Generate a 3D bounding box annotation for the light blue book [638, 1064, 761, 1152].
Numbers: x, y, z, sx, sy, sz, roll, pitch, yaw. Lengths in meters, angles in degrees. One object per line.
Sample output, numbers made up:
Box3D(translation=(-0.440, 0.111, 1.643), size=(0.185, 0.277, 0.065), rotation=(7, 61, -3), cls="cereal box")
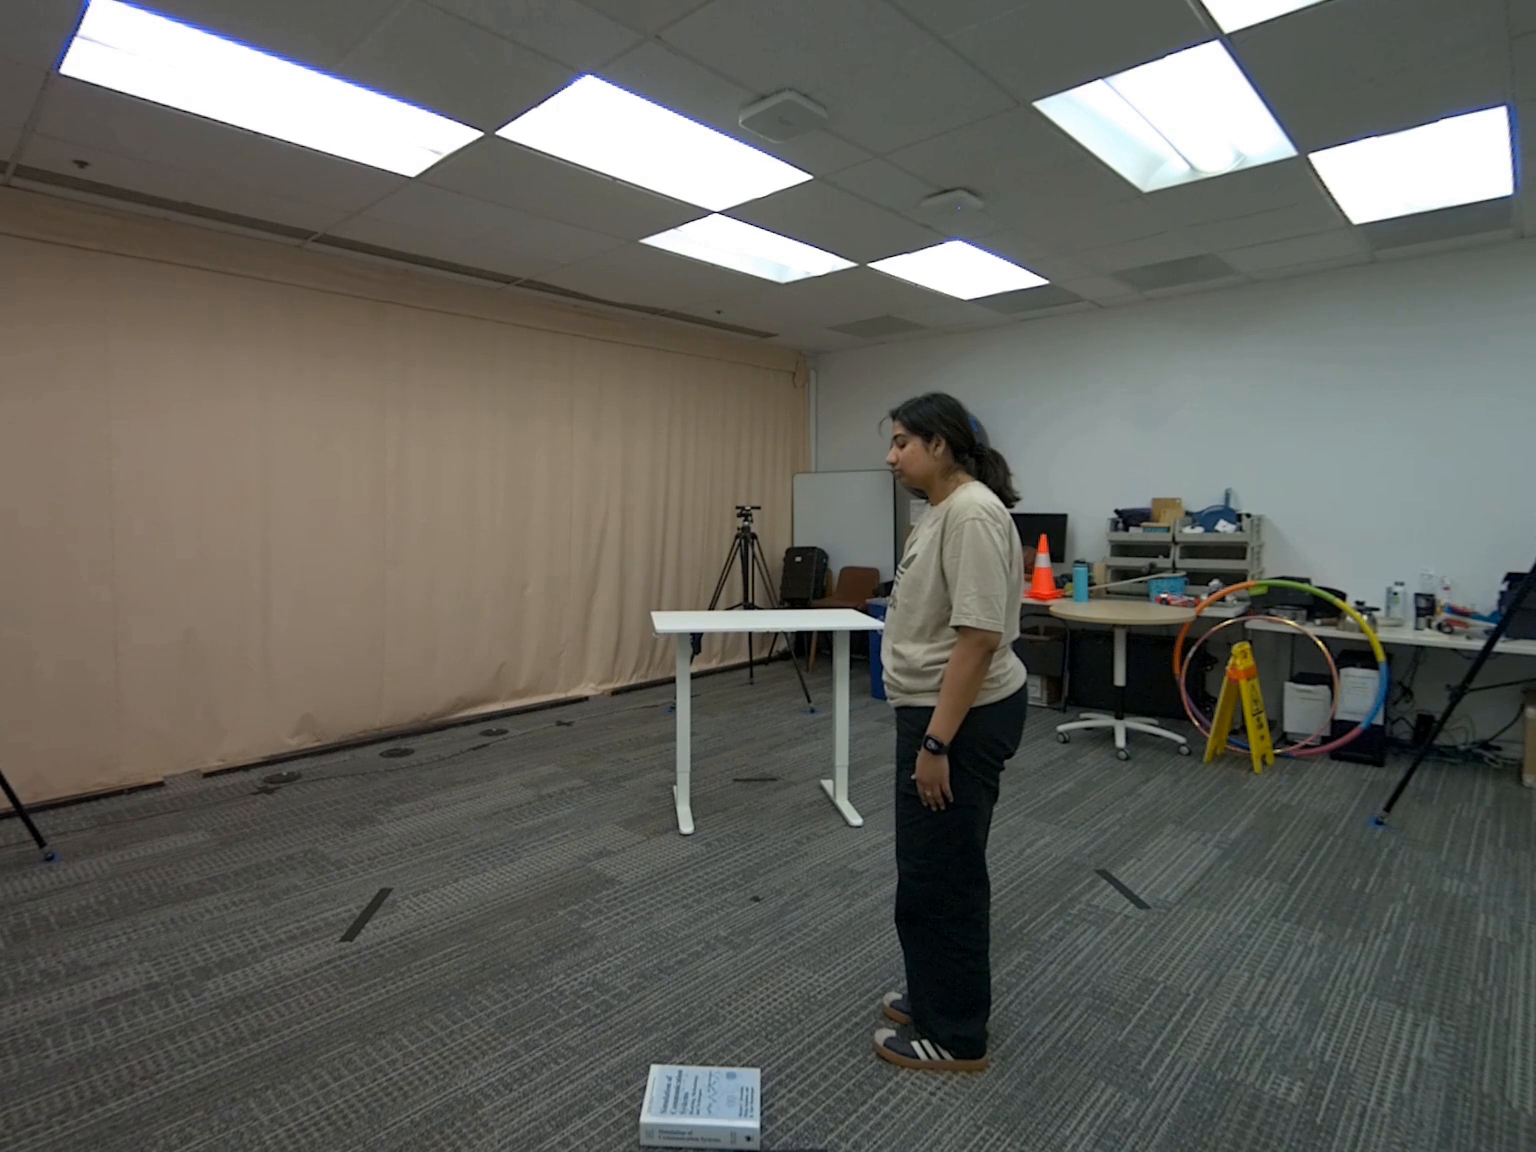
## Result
Box3D(translation=(-0.147, 1.203, 1.923), size=(0.262, 0.059, 0.191), rotation=(1, 4, 2), cls="light blue book")
